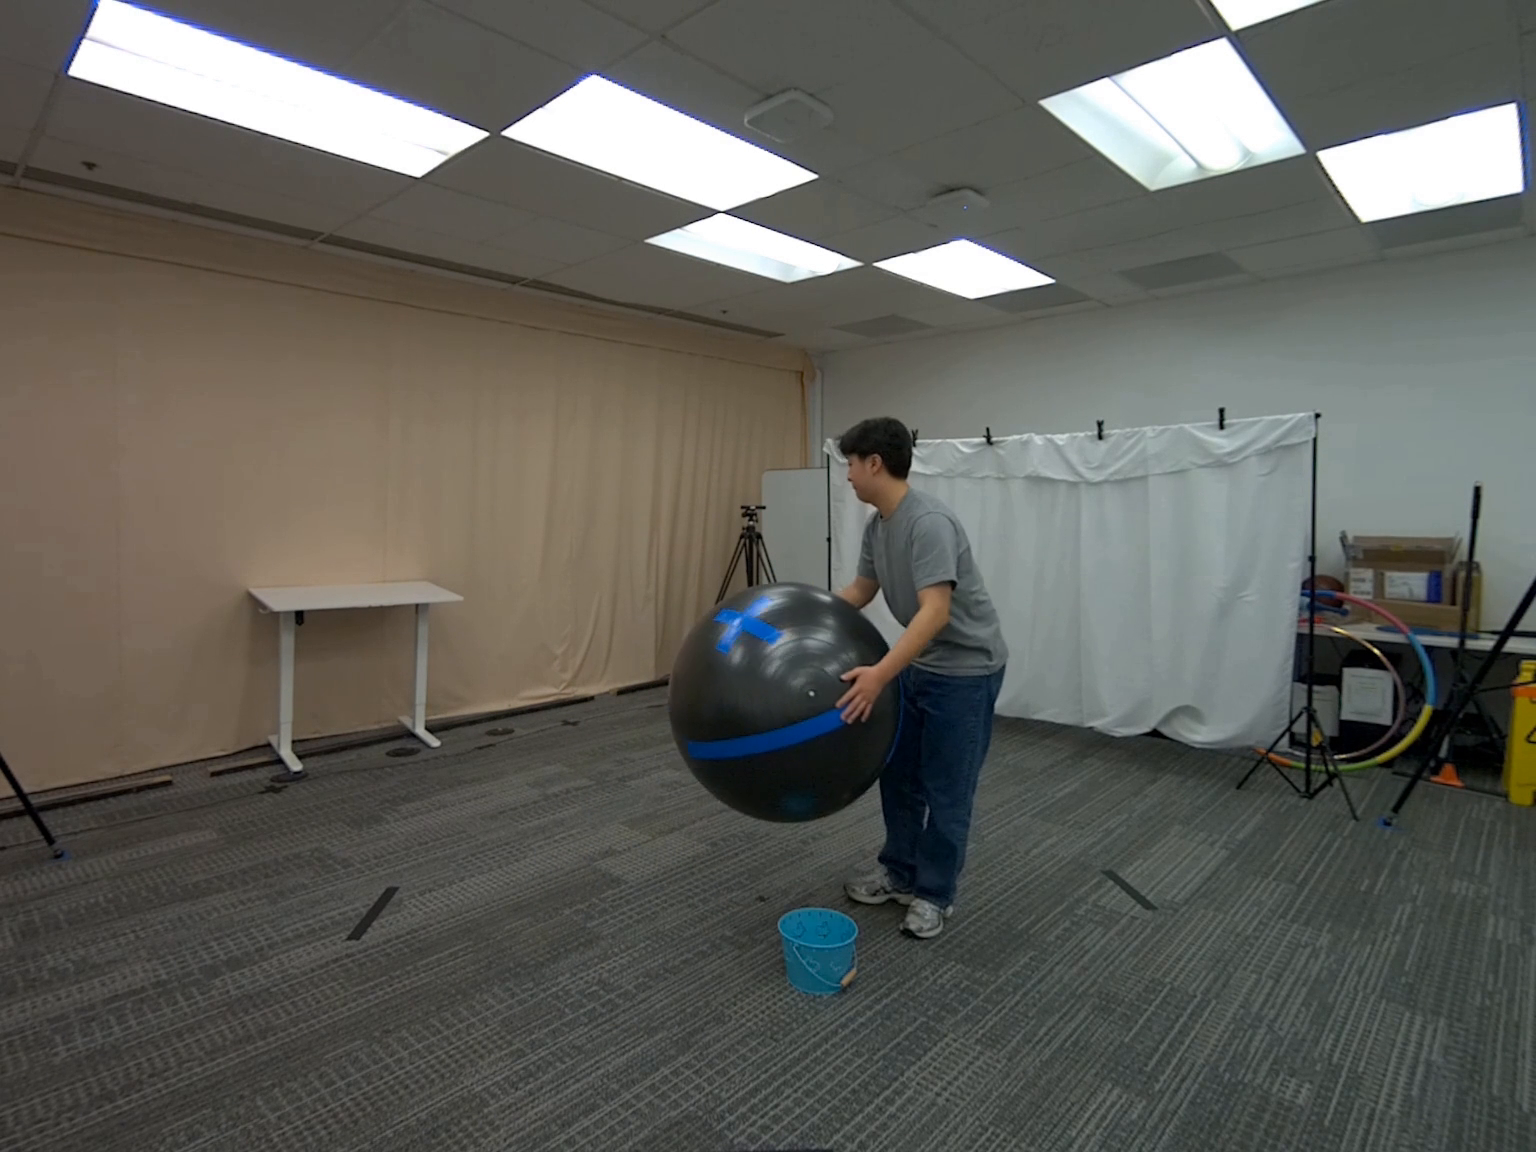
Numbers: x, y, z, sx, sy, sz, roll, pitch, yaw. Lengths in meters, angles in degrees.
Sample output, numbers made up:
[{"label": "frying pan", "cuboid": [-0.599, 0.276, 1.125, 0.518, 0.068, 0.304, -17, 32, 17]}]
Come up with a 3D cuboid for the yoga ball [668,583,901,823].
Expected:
[{"label": "yoga ball", "cuboid": [0.057, 0.417, 2.743, 0.757, 0.756, 0.760, 0, 4, -2]}]
